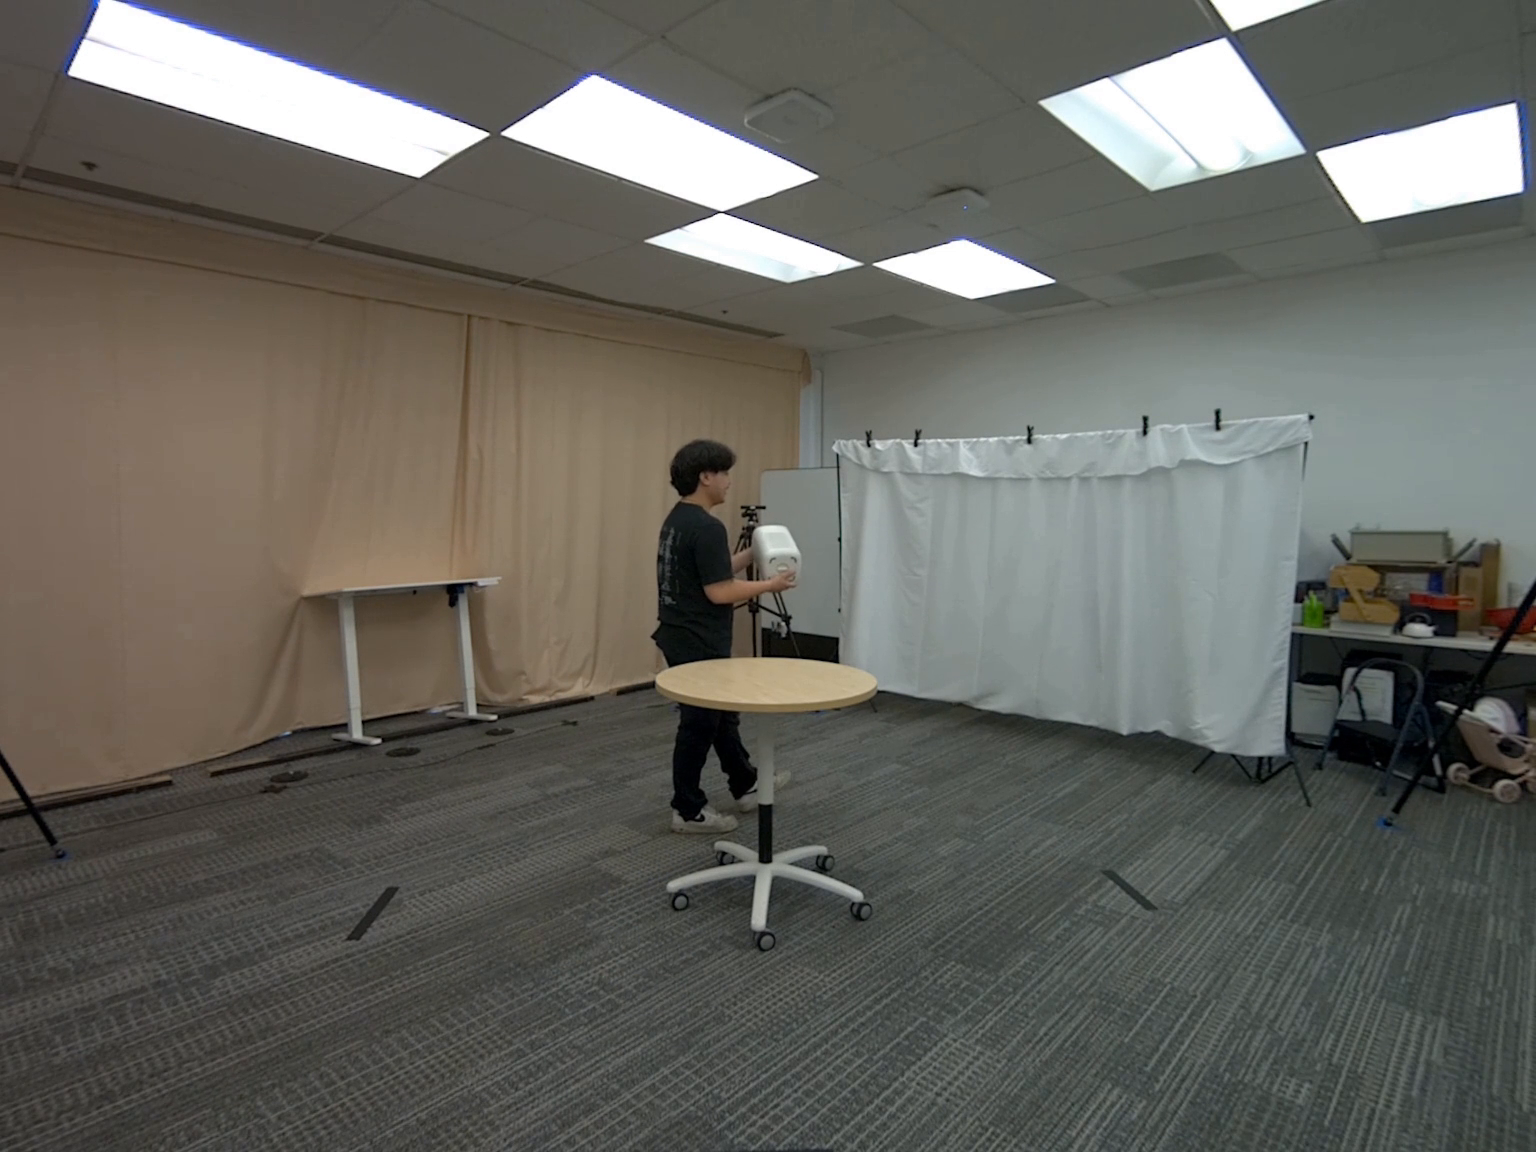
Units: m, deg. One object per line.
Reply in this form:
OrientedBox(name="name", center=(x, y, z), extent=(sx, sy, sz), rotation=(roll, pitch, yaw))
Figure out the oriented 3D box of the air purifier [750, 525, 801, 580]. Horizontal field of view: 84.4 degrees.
OrientedBox(name="air purifier", center=(0.037, -0.088, 3.634), extent=(0.170, 0.168, 0.271), rotation=(-3, 28, -9))
